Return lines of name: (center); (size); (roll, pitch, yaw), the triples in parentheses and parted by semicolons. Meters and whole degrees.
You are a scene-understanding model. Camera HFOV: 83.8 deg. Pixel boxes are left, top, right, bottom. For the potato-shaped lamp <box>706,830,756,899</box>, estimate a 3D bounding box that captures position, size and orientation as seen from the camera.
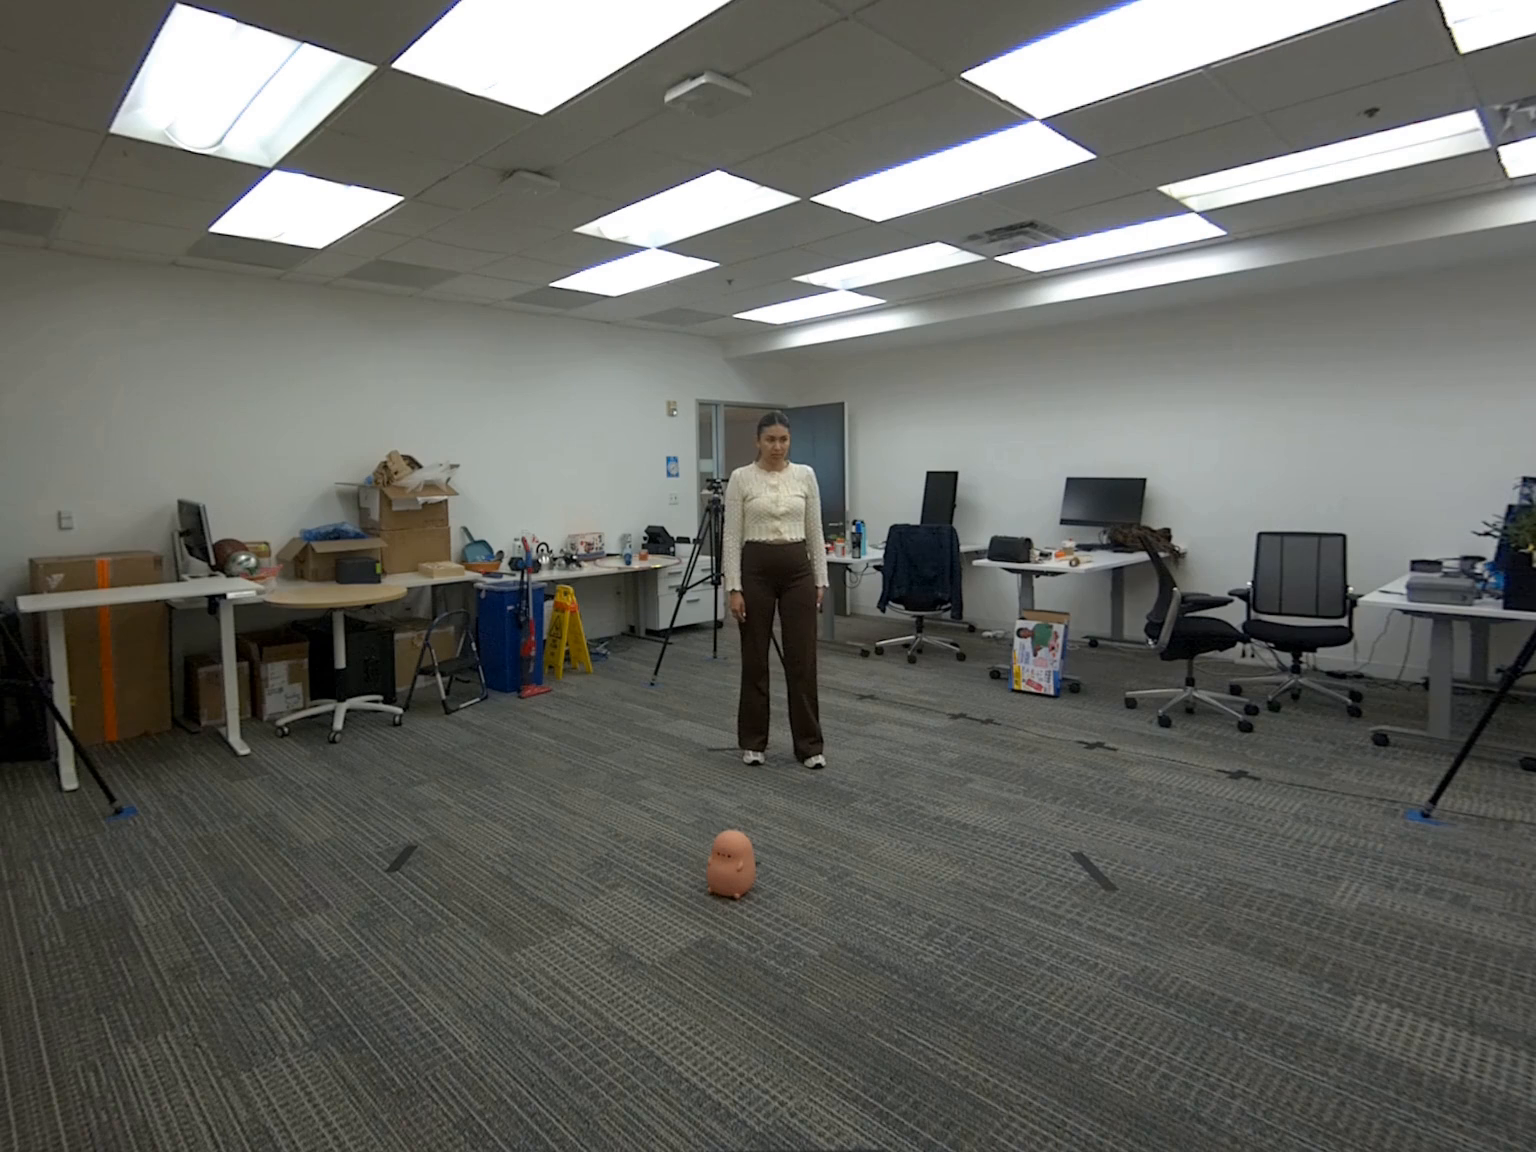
potato-shaped lamp: (-0.120, 0.972, 2.899); (0.169, 0.197, 0.168); (1, 6, 27)
